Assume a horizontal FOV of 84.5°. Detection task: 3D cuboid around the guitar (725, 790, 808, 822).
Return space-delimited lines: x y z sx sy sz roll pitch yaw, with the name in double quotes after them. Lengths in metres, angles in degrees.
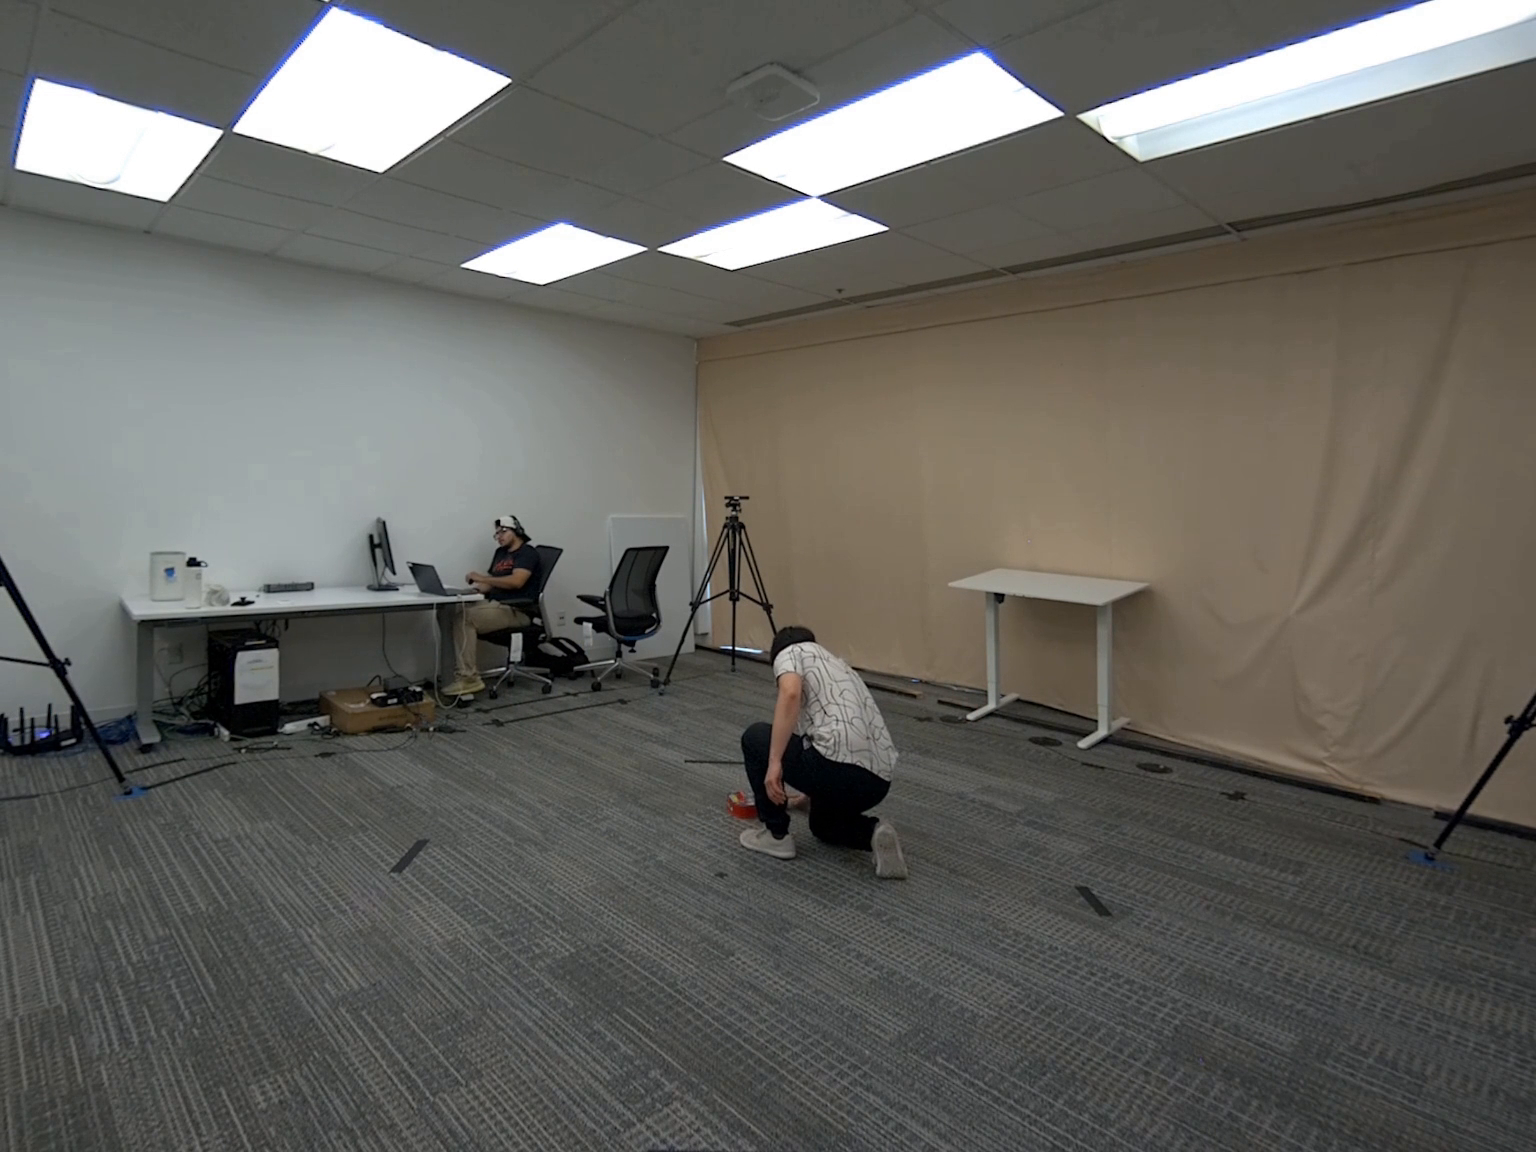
0.065 1.018 3.773 0.495 0.070 0.194 1 5 -7 "guitar"
